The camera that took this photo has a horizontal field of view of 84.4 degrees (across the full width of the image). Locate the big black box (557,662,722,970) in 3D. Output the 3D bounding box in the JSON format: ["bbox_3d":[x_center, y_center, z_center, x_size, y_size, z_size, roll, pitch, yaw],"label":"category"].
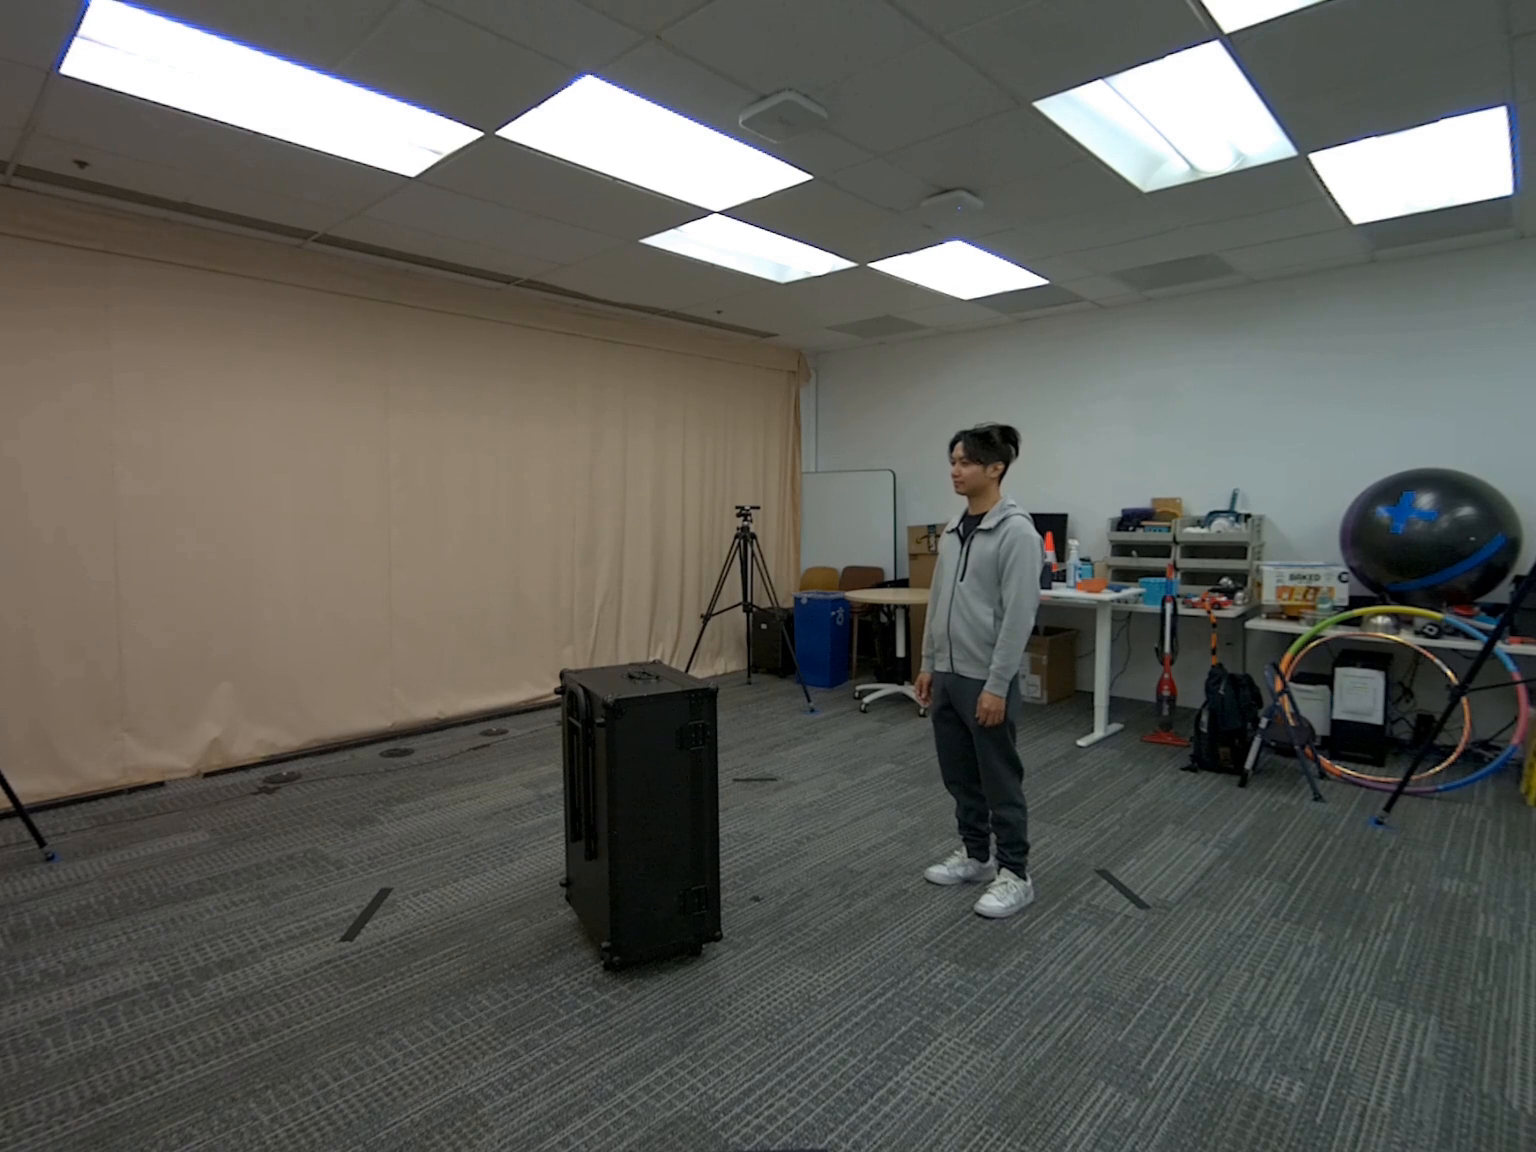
[{"bbox_3d":[-0.419,0.750,2.669,0.386,0.859,0.536,-4,4,-28],"label":"big black box"}]
